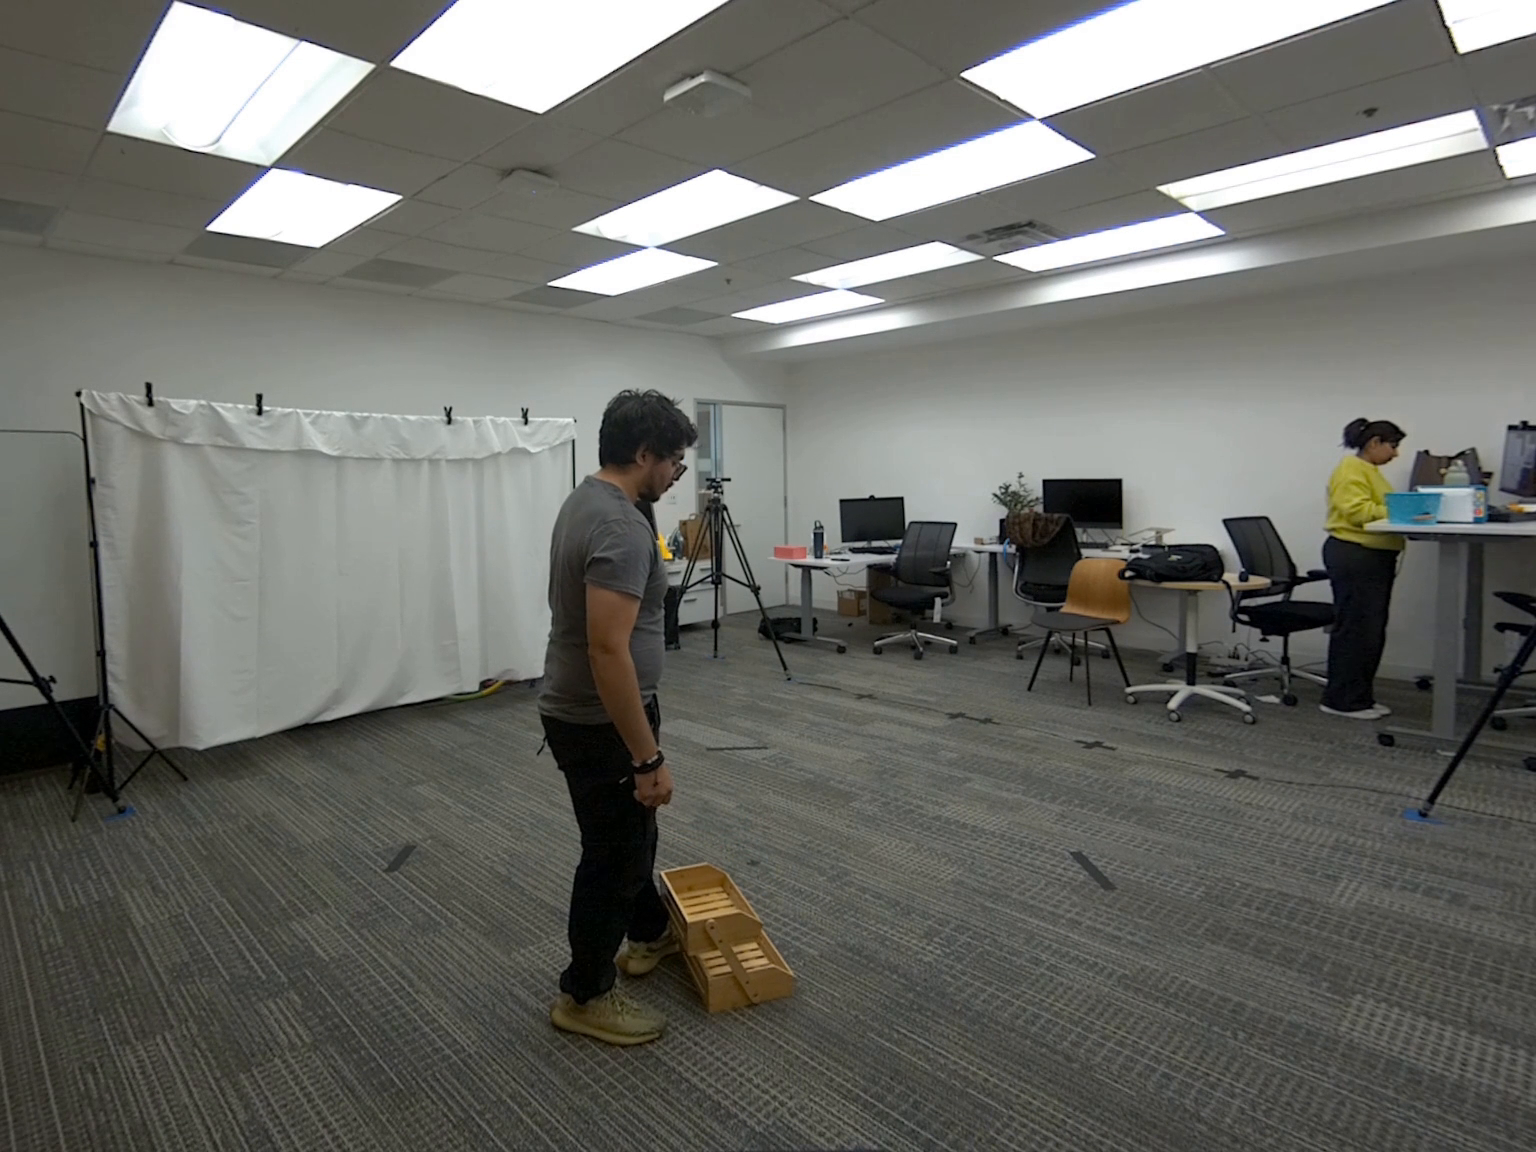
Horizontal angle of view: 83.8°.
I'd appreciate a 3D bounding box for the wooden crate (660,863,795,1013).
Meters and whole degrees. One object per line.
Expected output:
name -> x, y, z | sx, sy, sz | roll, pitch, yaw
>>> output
wooden crate -> -0.113, 0.995, 2.400 | 0.297, 0.272, 0.331 | -4, 6, -20
